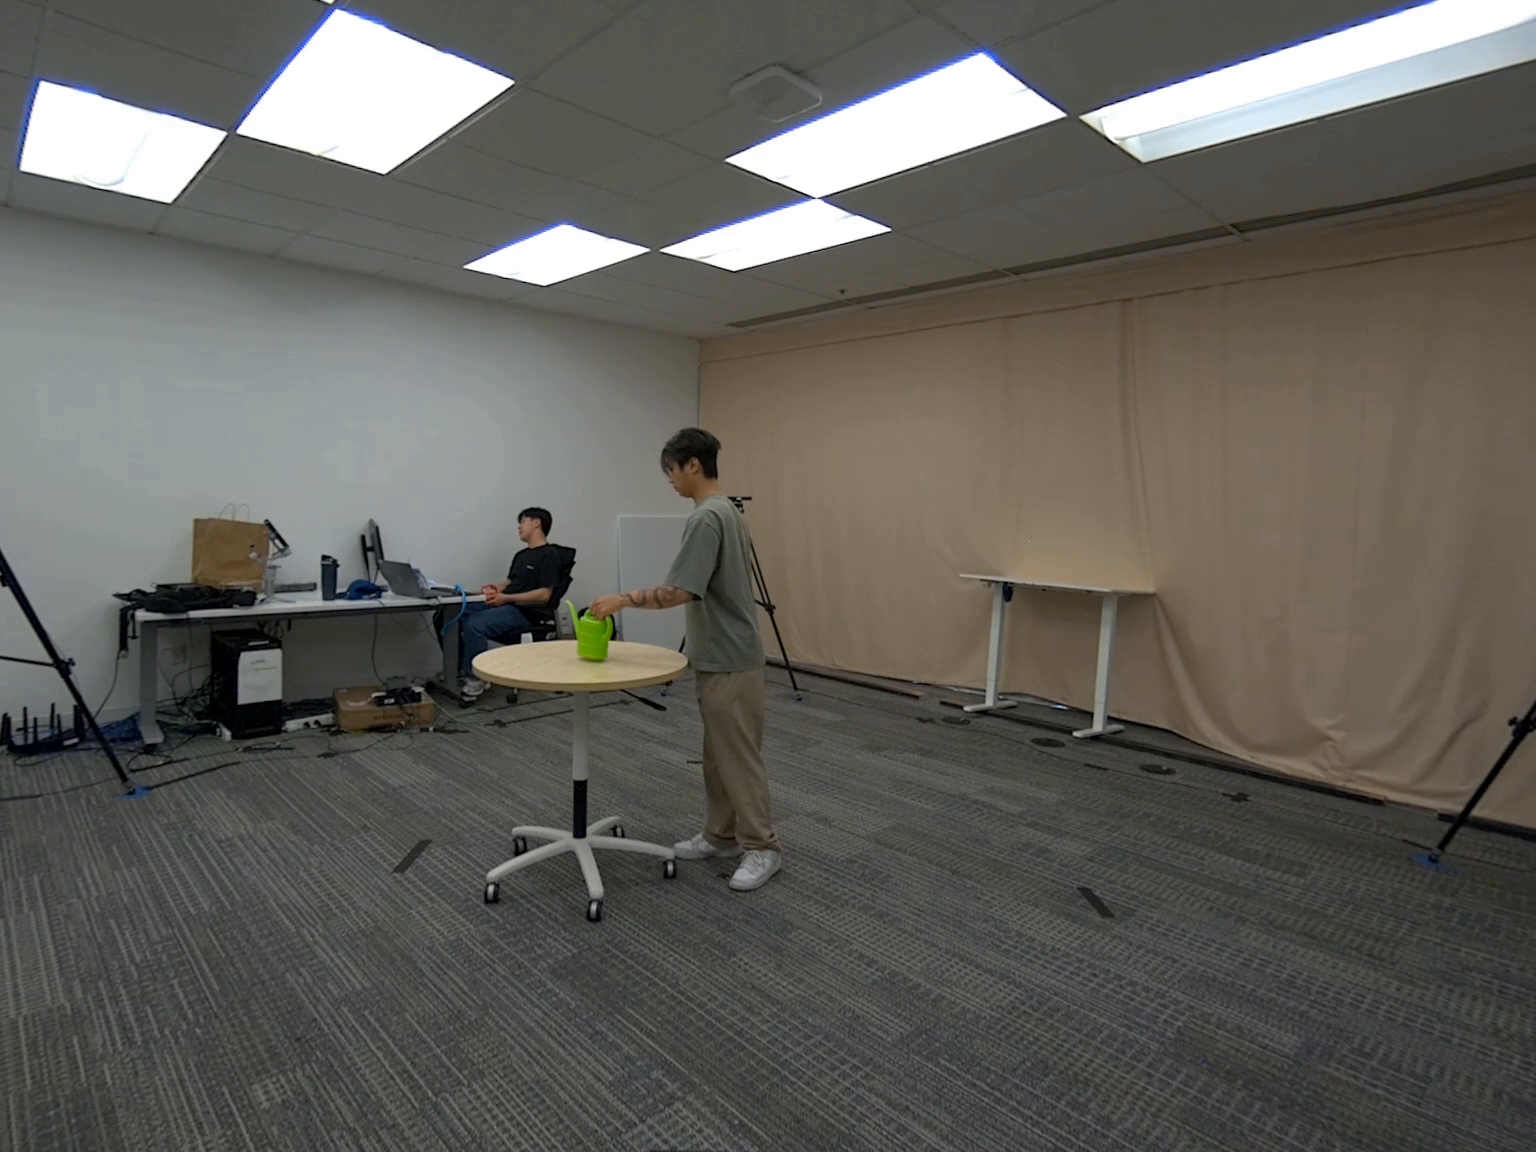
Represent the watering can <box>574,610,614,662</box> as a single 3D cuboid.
[{"bbox_3d":[-0.653,0.203,3.071,0.096,0.176,0.285,2,5,-33],"label":"watering can"}]
